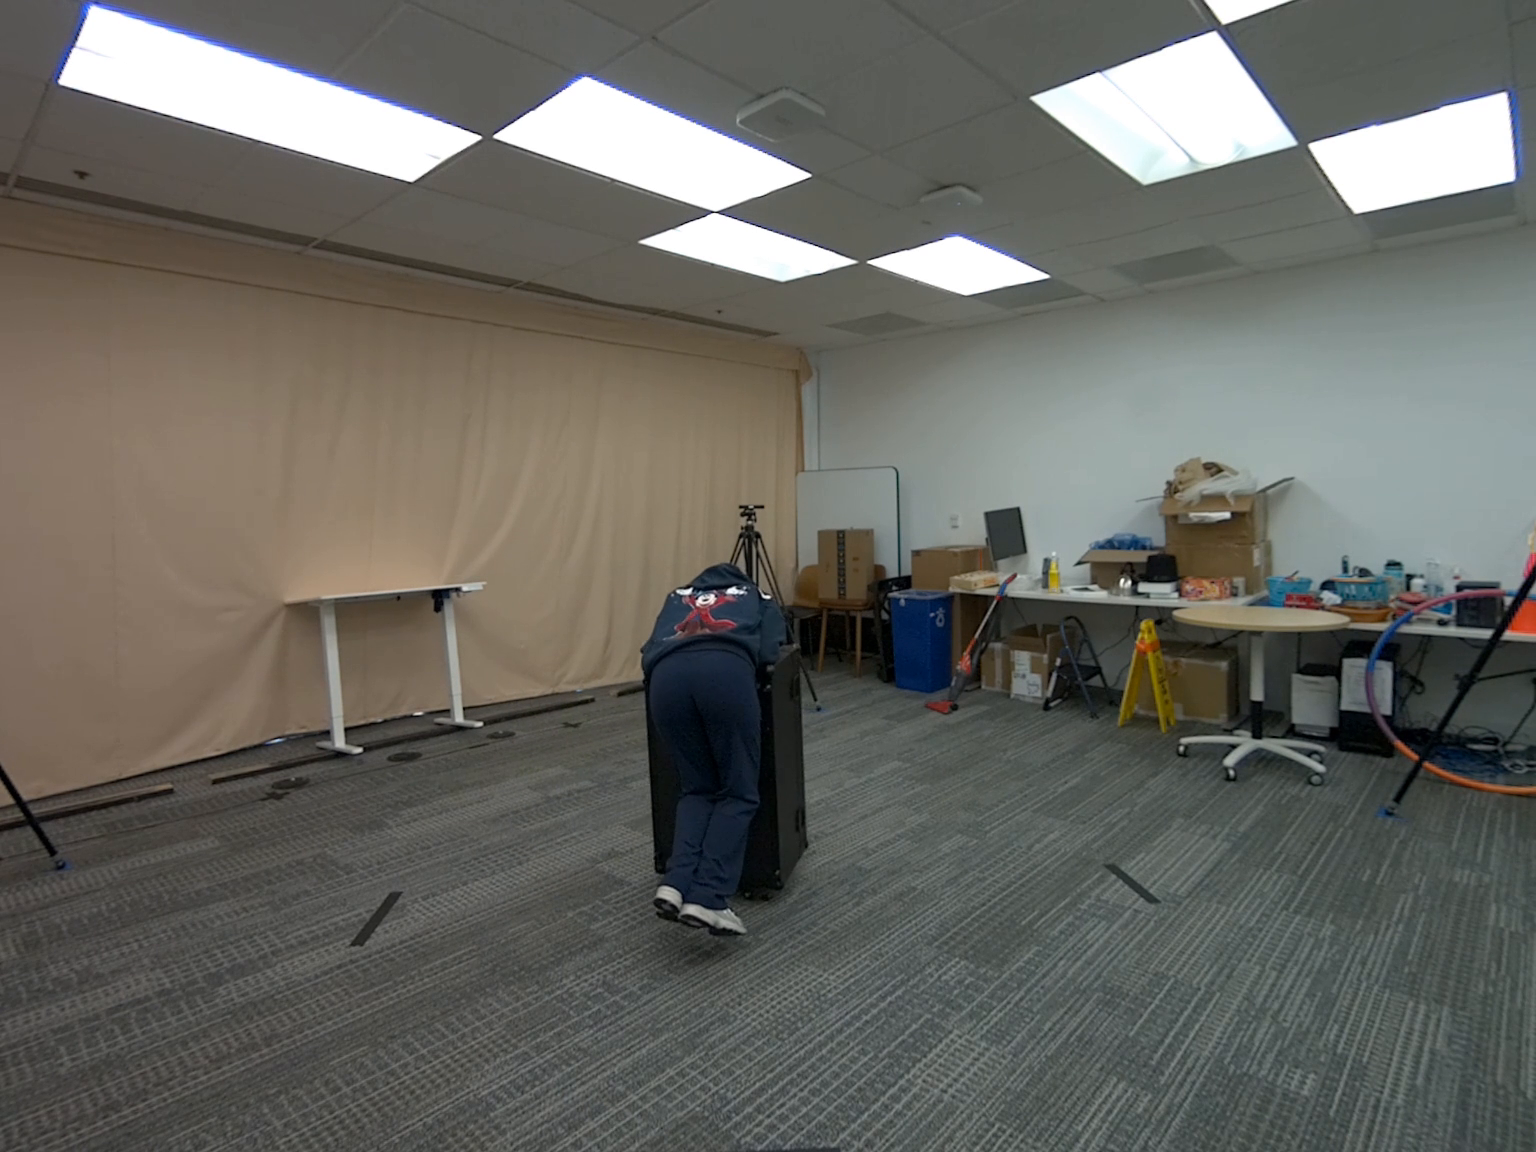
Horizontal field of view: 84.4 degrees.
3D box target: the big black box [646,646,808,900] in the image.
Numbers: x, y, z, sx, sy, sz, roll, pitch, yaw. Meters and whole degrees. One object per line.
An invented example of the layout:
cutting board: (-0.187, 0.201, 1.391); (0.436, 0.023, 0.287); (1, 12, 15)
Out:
big black box: (-0.137, 0.710, 3.093); (0.533, 0.857, 0.389); (0, 7, 20)
